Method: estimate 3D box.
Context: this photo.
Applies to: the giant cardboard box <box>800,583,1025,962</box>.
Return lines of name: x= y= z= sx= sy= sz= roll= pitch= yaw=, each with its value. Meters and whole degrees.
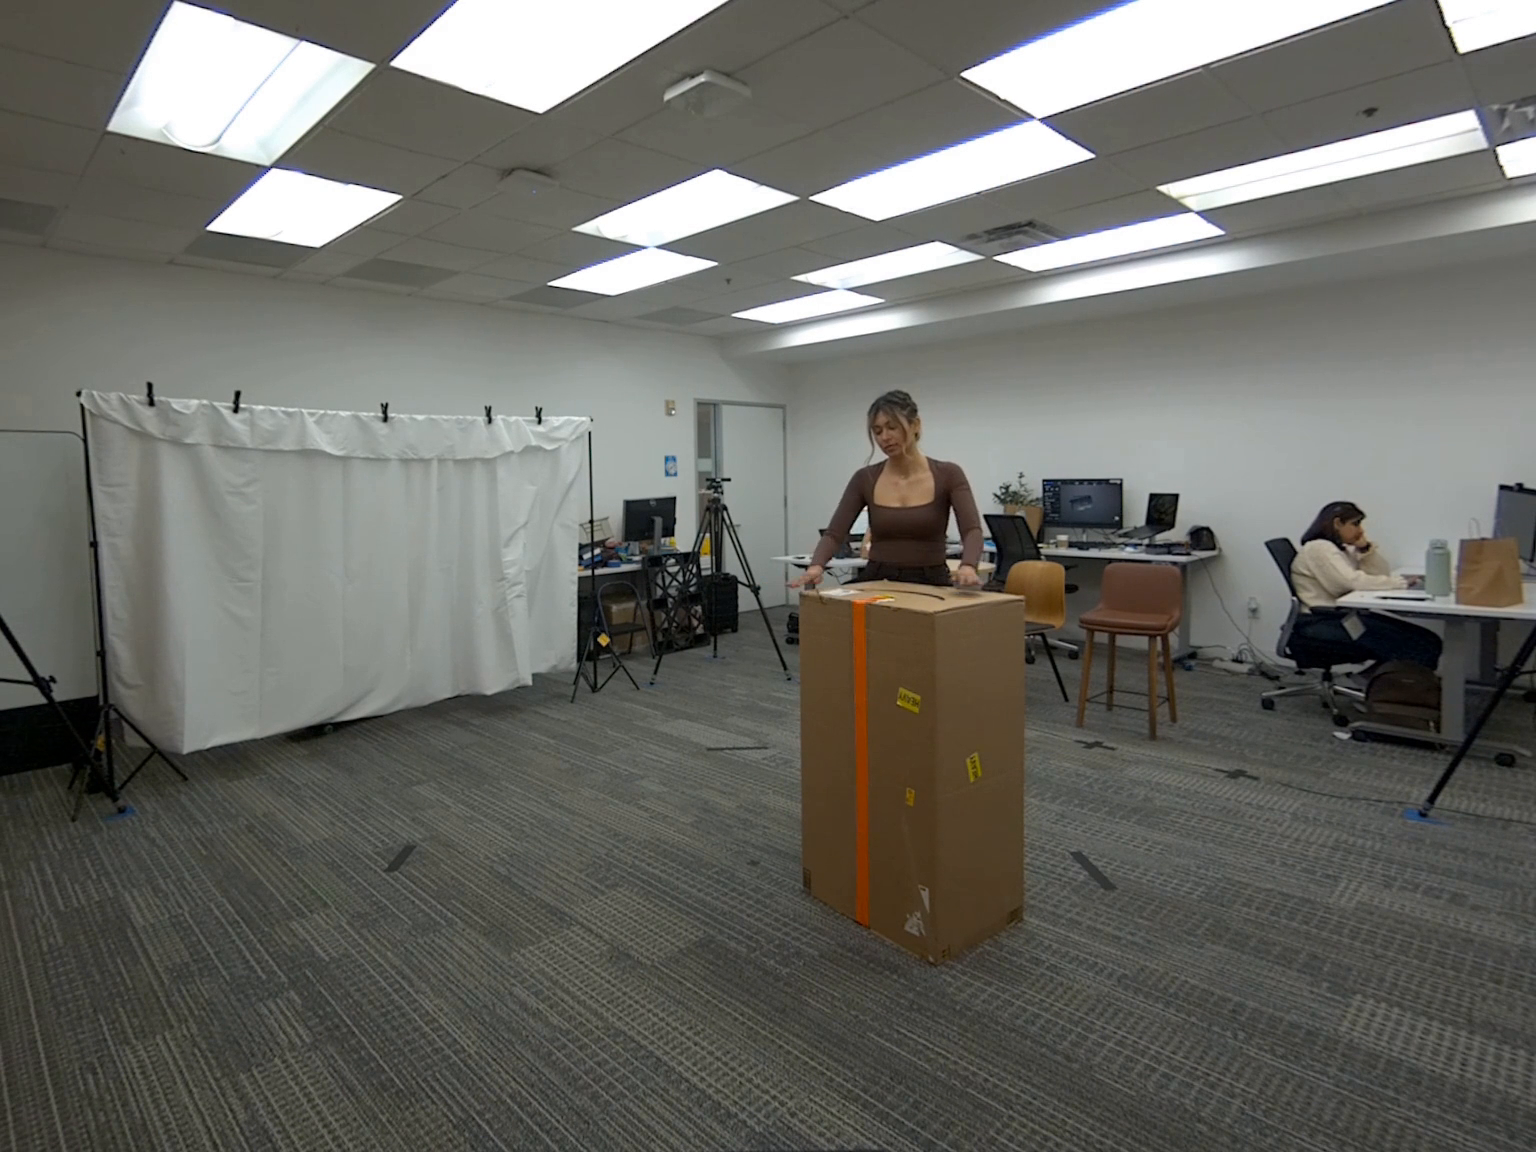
giant cardboard box: x=0.451 y=0.563 z=2.747 sx=0.435 sy=1.023 sz=0.601 roll=-5 pitch=5 yaw=-37
